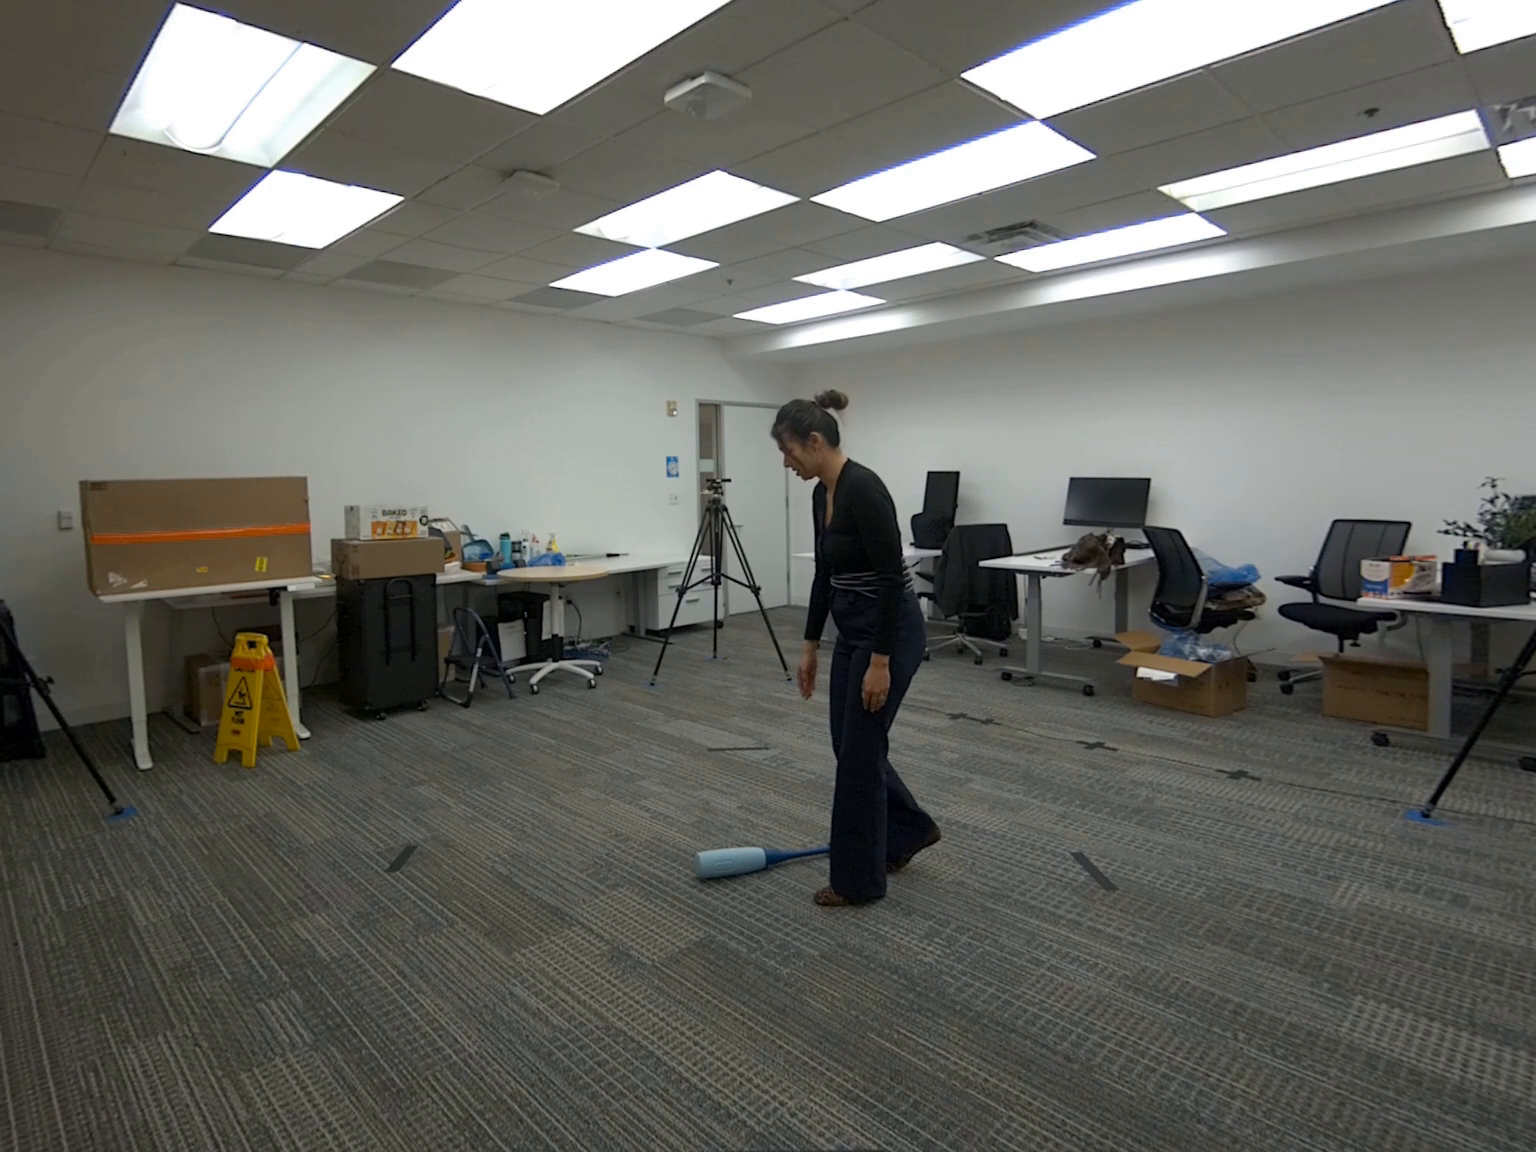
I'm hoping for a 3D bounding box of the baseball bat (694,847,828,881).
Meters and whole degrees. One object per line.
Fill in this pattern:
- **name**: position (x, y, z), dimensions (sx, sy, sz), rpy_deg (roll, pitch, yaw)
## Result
- **baseball bat**: position (-0.001, 1.013, 3.068), dimensions (0.532, 0.089, 0.091), rpy_deg (1, 4, -20)
